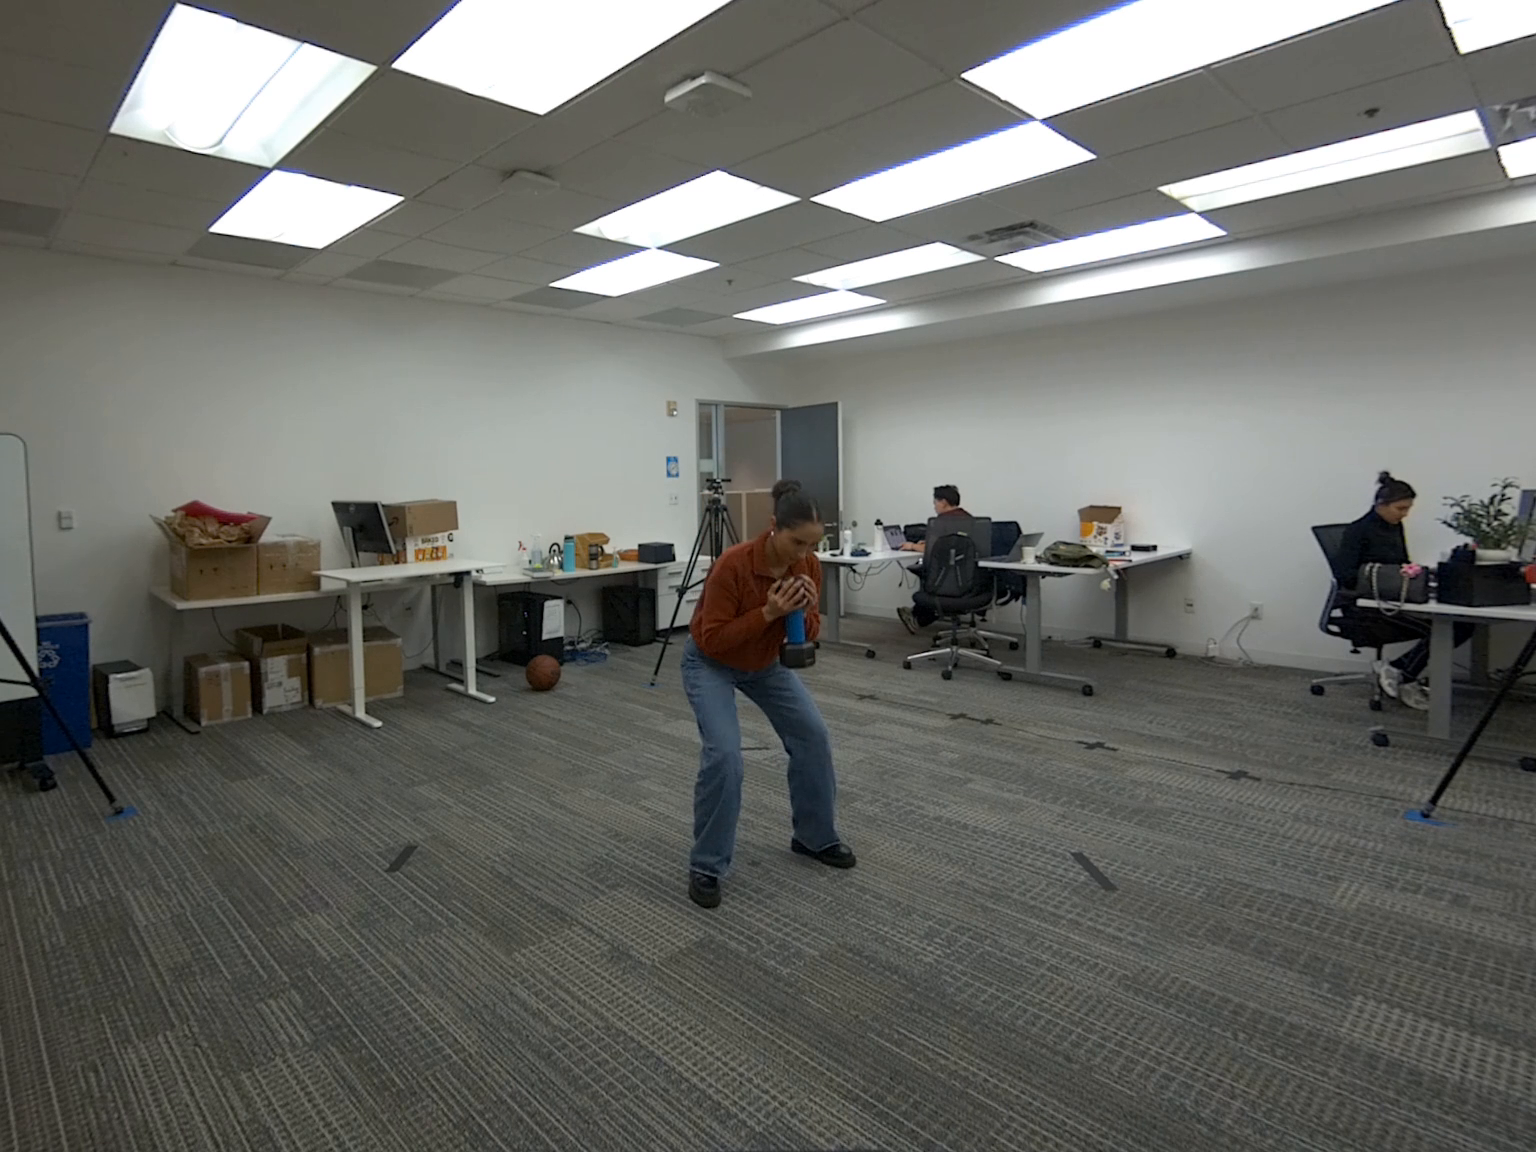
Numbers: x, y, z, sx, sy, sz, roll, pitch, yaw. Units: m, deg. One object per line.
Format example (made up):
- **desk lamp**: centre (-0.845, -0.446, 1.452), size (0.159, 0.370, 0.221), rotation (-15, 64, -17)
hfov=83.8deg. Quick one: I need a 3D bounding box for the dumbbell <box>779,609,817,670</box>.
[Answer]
- **dumbbell**: centre (0.075, 0.163, 2.850), size (0.111, 0.293, 0.120), rotation (-5, 1, 45)
